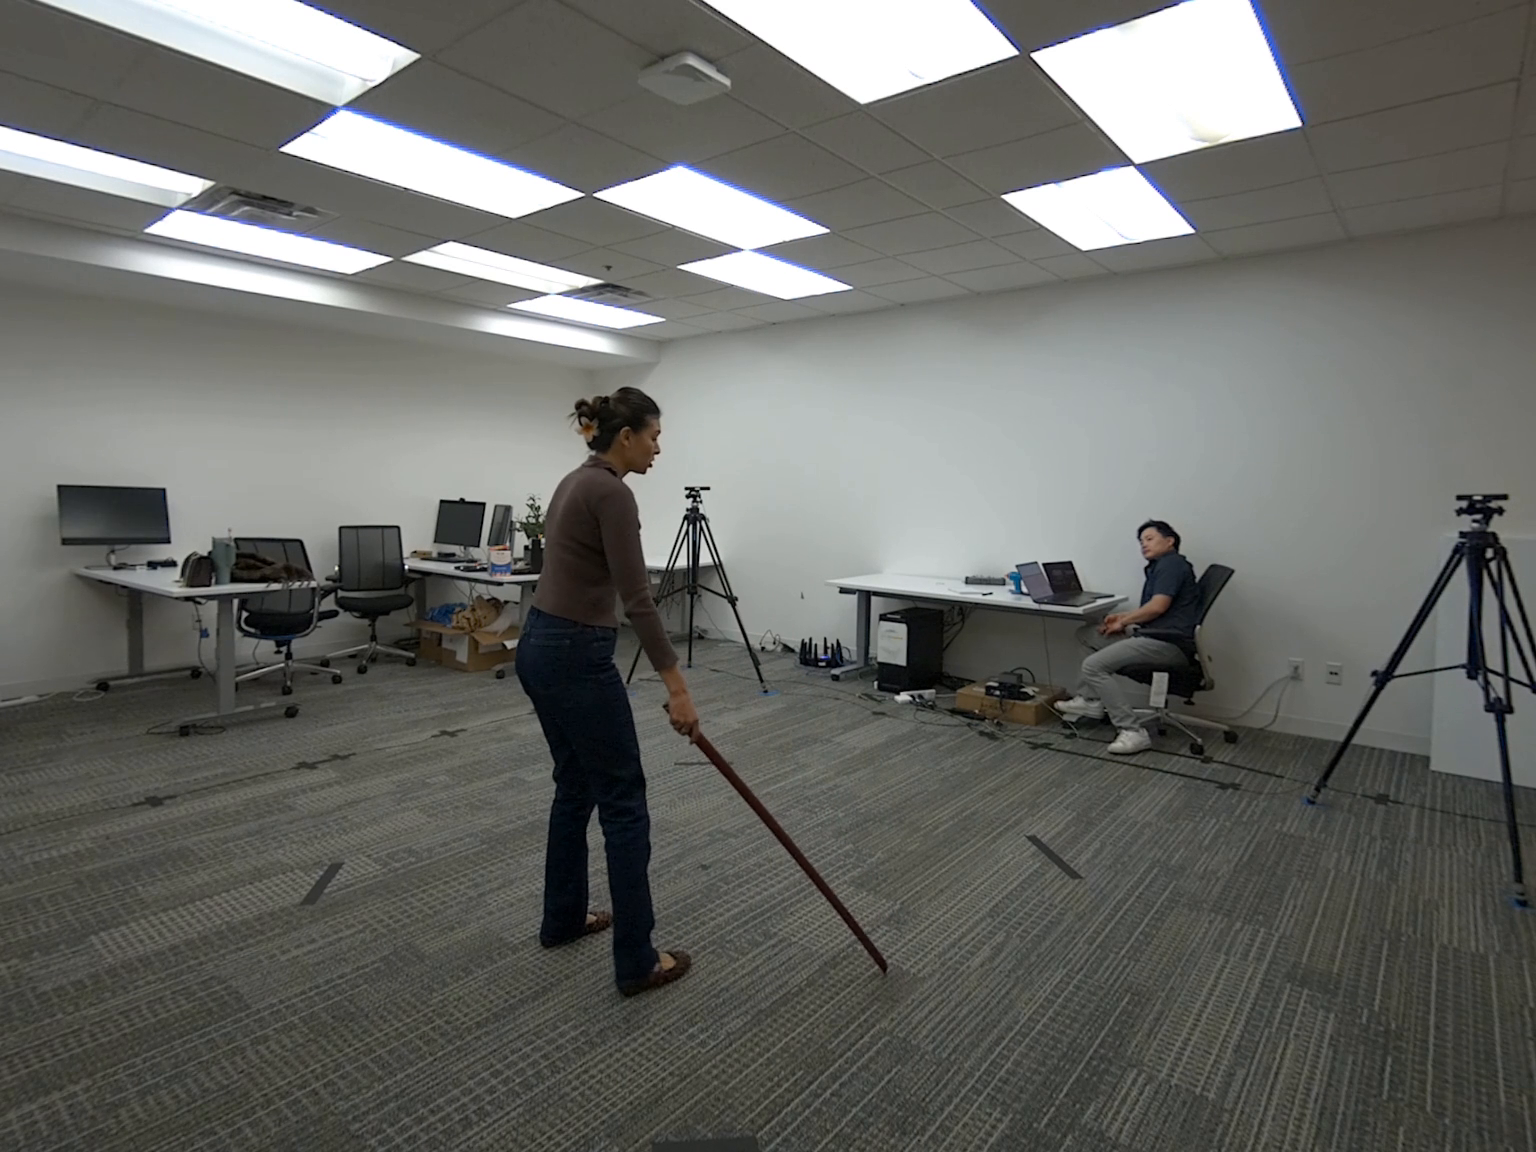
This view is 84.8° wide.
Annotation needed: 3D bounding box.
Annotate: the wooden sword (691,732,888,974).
[{"bbox_3d":[0.045,0.745,2.374,0.052,1.010,0.024,-30,12,37],"label":"wooden sword"}]
